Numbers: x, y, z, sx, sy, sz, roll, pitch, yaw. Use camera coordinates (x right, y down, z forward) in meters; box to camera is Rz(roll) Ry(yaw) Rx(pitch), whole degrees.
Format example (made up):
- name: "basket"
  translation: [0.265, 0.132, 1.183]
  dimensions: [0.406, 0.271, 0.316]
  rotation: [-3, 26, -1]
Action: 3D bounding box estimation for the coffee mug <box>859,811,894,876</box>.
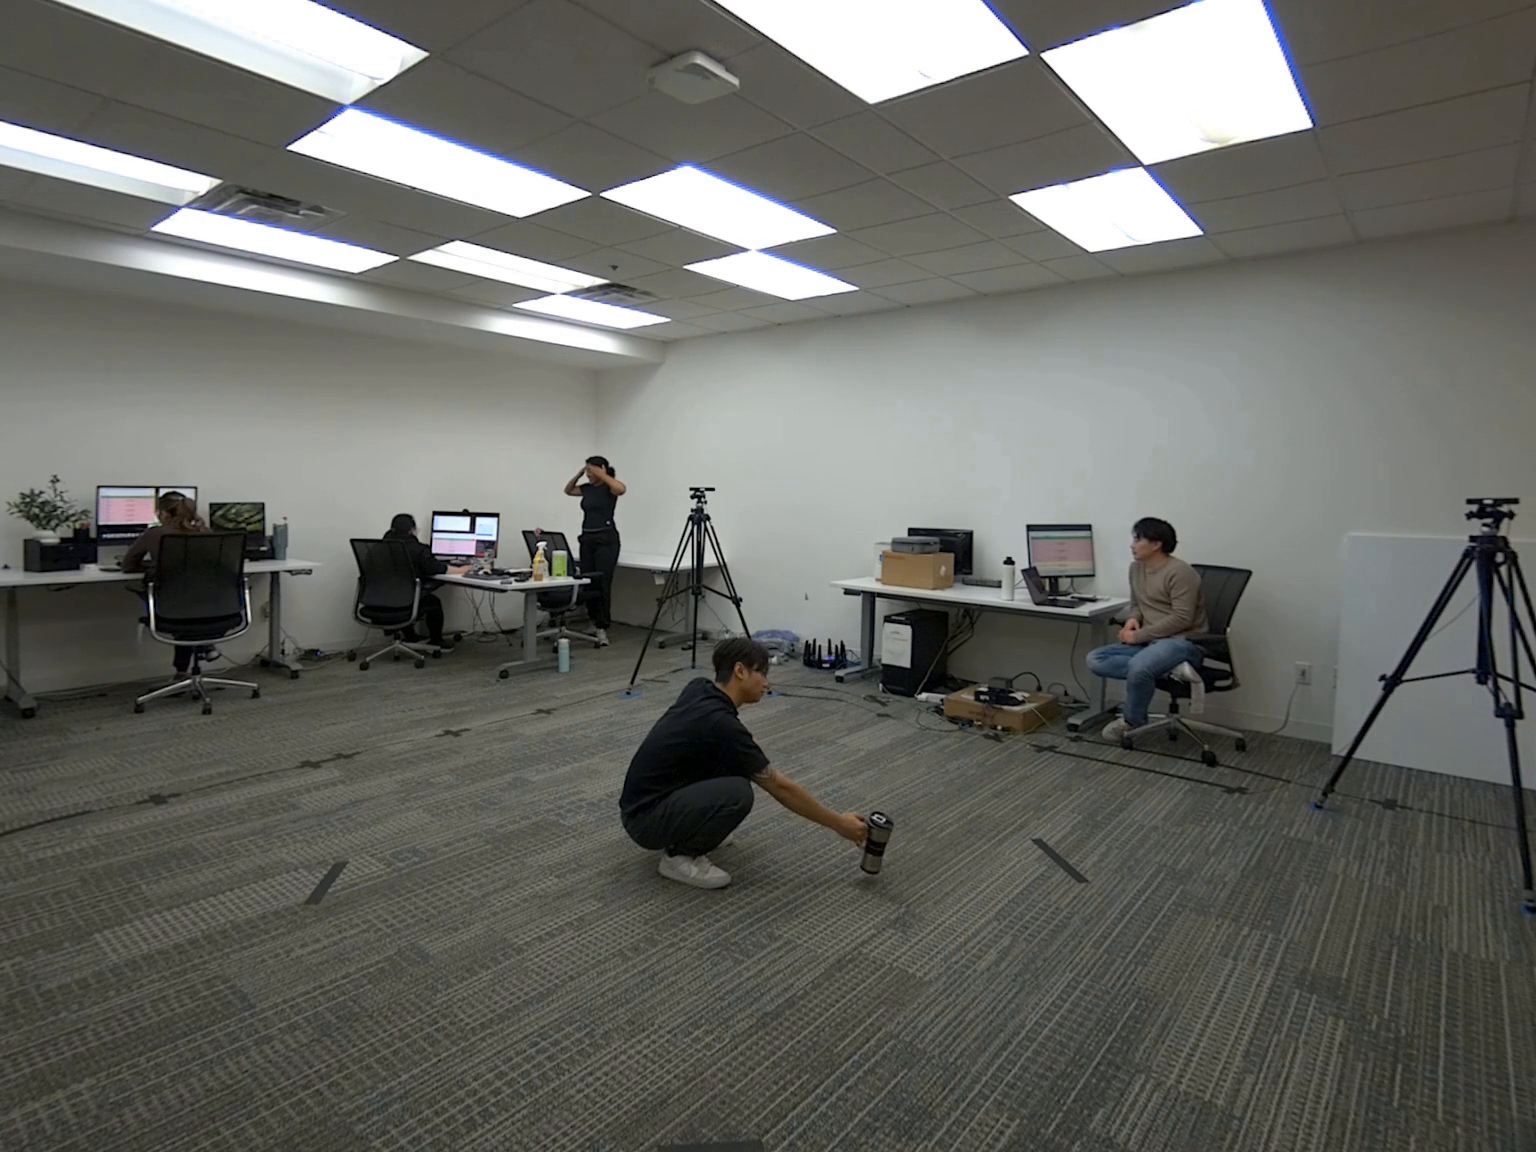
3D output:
- name: "coffee mug"
  translation: [0.369, 0.937, 3.029]
  dimensions: [0.127, 0.201, 0.085]
  rotation: [22, 19, 36]
